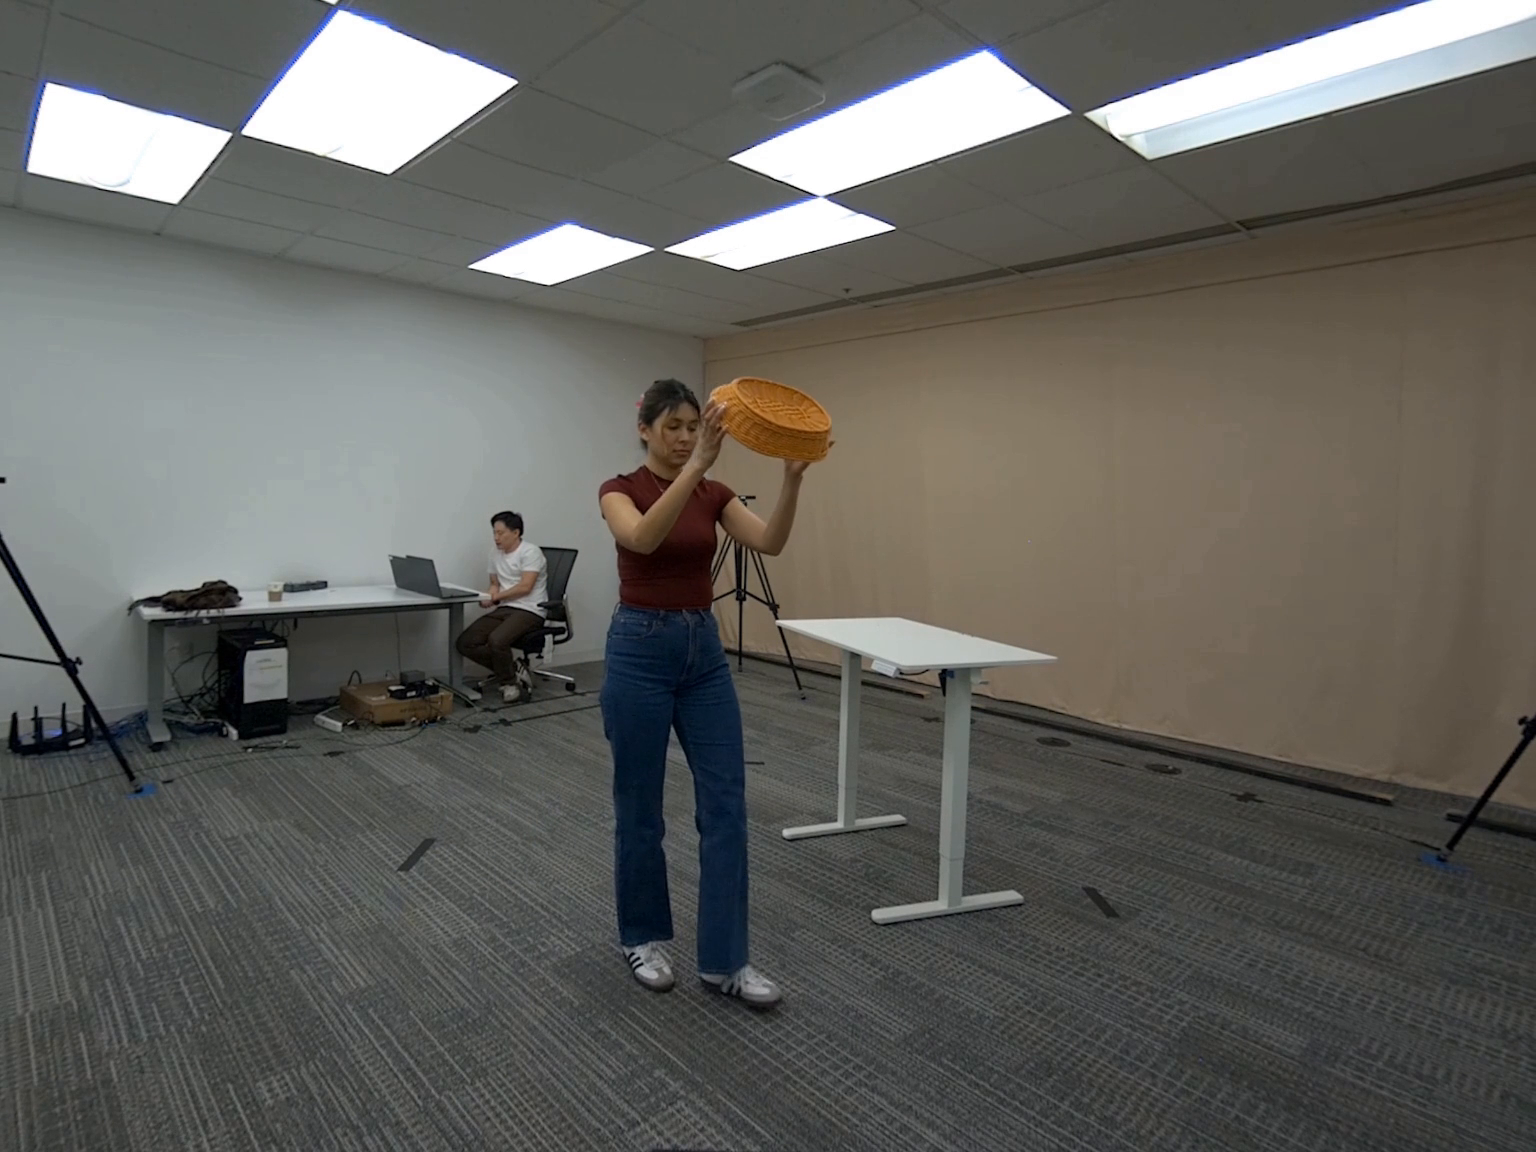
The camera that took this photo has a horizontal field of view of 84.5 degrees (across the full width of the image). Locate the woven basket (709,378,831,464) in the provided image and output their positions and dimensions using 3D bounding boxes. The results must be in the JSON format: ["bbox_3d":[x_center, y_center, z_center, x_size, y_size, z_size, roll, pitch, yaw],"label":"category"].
[{"bbox_3d":[0.017,-0.390,2.037,0.342,0.259,0.073,0,-41,-40],"label":"woven basket"}]
